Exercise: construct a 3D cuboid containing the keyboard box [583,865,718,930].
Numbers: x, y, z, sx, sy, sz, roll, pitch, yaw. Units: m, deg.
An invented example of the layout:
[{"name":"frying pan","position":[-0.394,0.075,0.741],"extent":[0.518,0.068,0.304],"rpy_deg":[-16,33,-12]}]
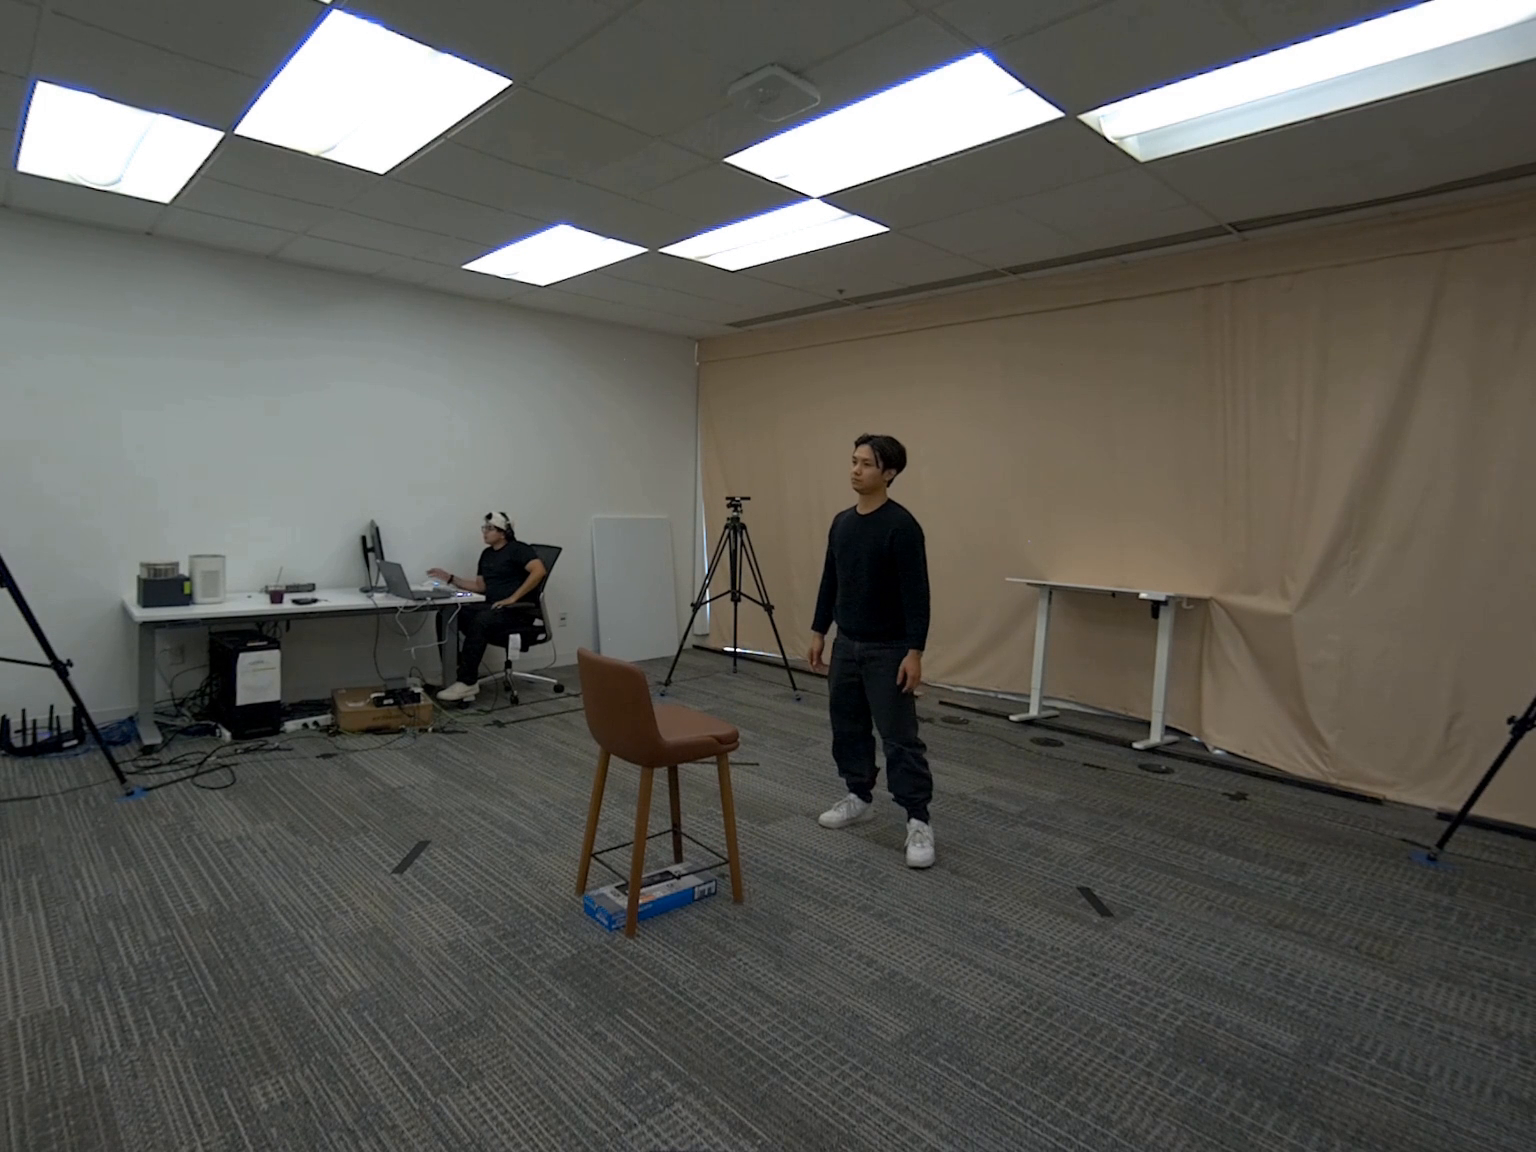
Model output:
[{"name":"keyboard box","position":[-0.402,1.095,2.883],"extent":[0.427,0.059,0.180],"rpy_deg":[-3,7,-40]}]
